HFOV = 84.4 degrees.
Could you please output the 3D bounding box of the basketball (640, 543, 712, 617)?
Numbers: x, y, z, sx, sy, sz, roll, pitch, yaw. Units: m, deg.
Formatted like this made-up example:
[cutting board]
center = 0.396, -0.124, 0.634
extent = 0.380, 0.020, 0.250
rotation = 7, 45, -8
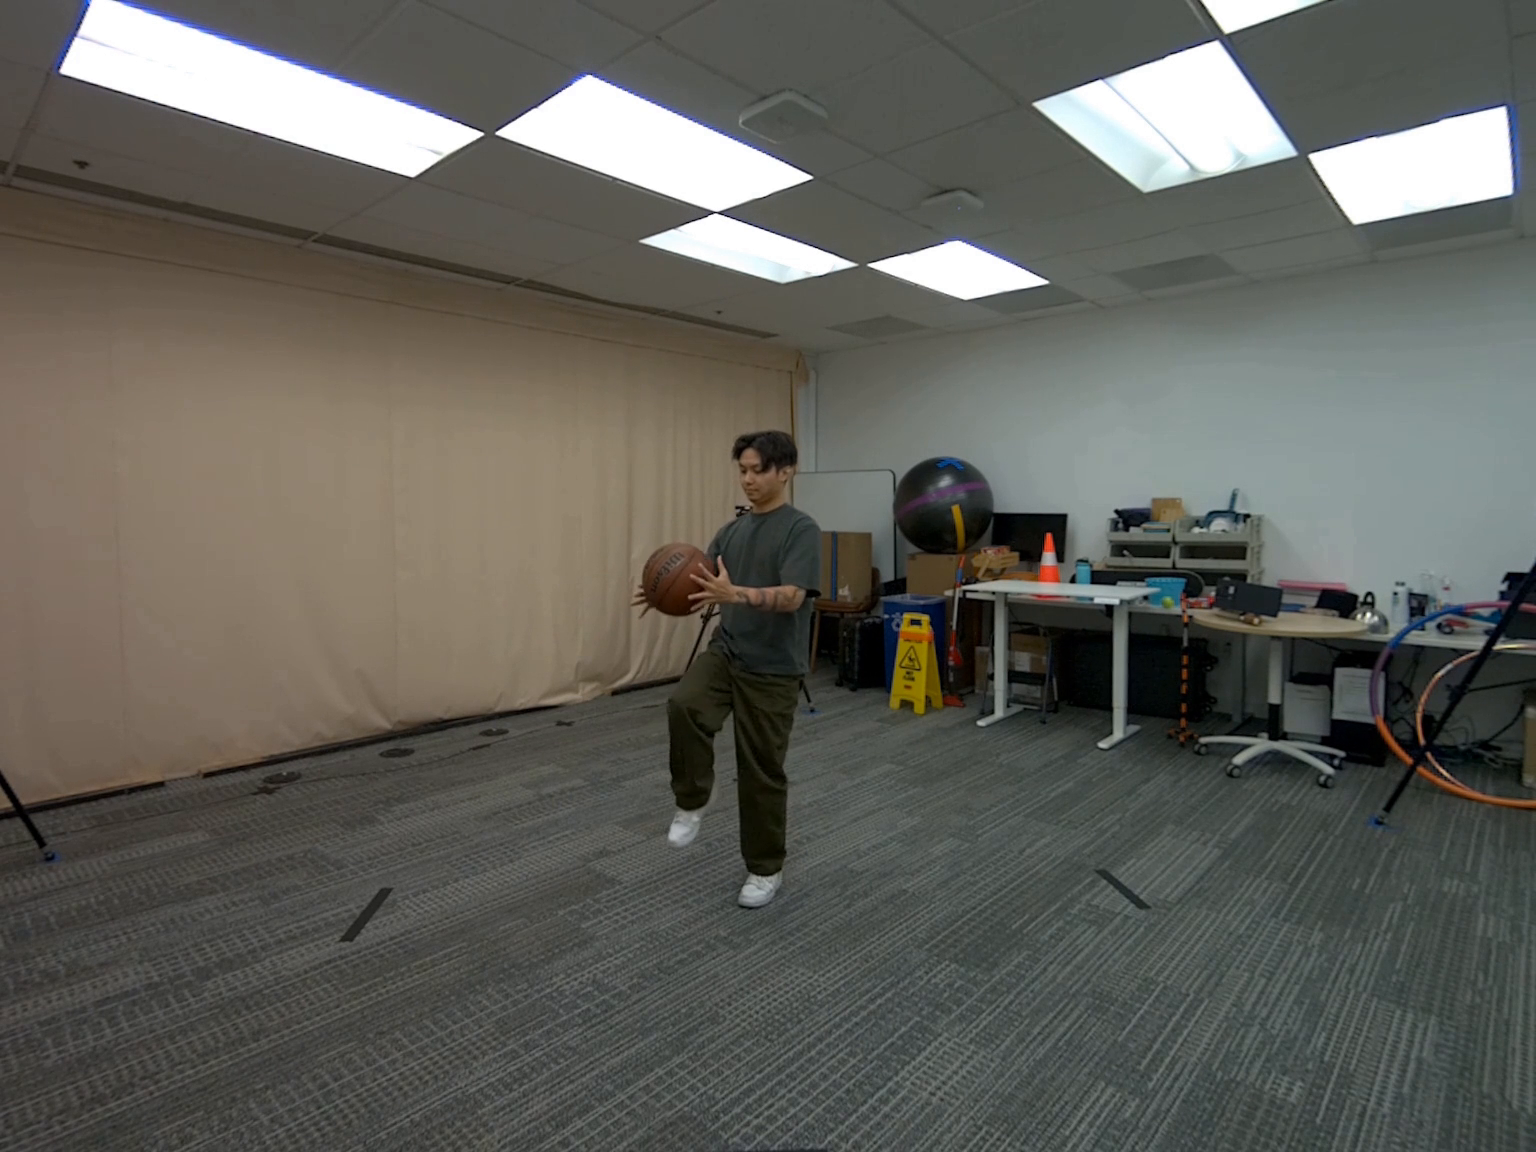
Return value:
[basketball]
center = -0.286, 0.020, 2.725
extent = 0.236, 0.235, 0.237
rotation = 0, 4, -2
